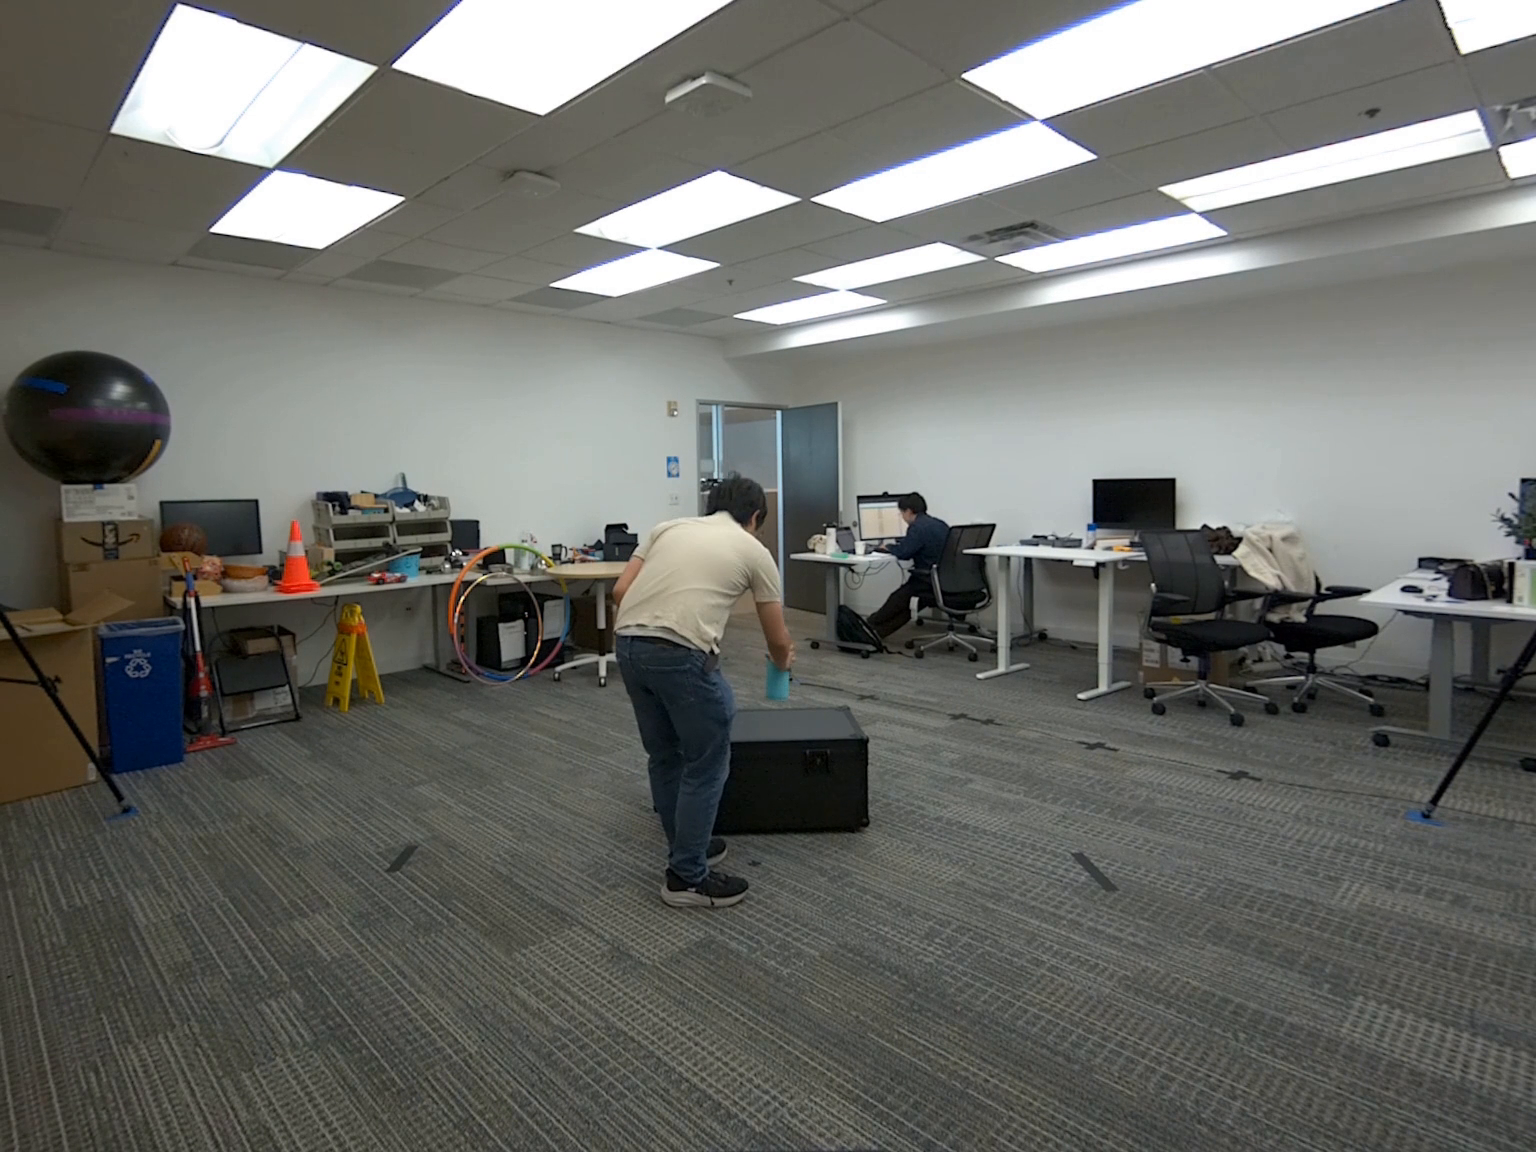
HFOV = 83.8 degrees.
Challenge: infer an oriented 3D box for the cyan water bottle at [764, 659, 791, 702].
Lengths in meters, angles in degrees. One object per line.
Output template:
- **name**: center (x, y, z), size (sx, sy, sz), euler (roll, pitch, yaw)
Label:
- **cyan water bottle**: center (0.048, 0.335, 3.352), size (0.092, 0.285, 0.092), euler (1, -5, -2)
